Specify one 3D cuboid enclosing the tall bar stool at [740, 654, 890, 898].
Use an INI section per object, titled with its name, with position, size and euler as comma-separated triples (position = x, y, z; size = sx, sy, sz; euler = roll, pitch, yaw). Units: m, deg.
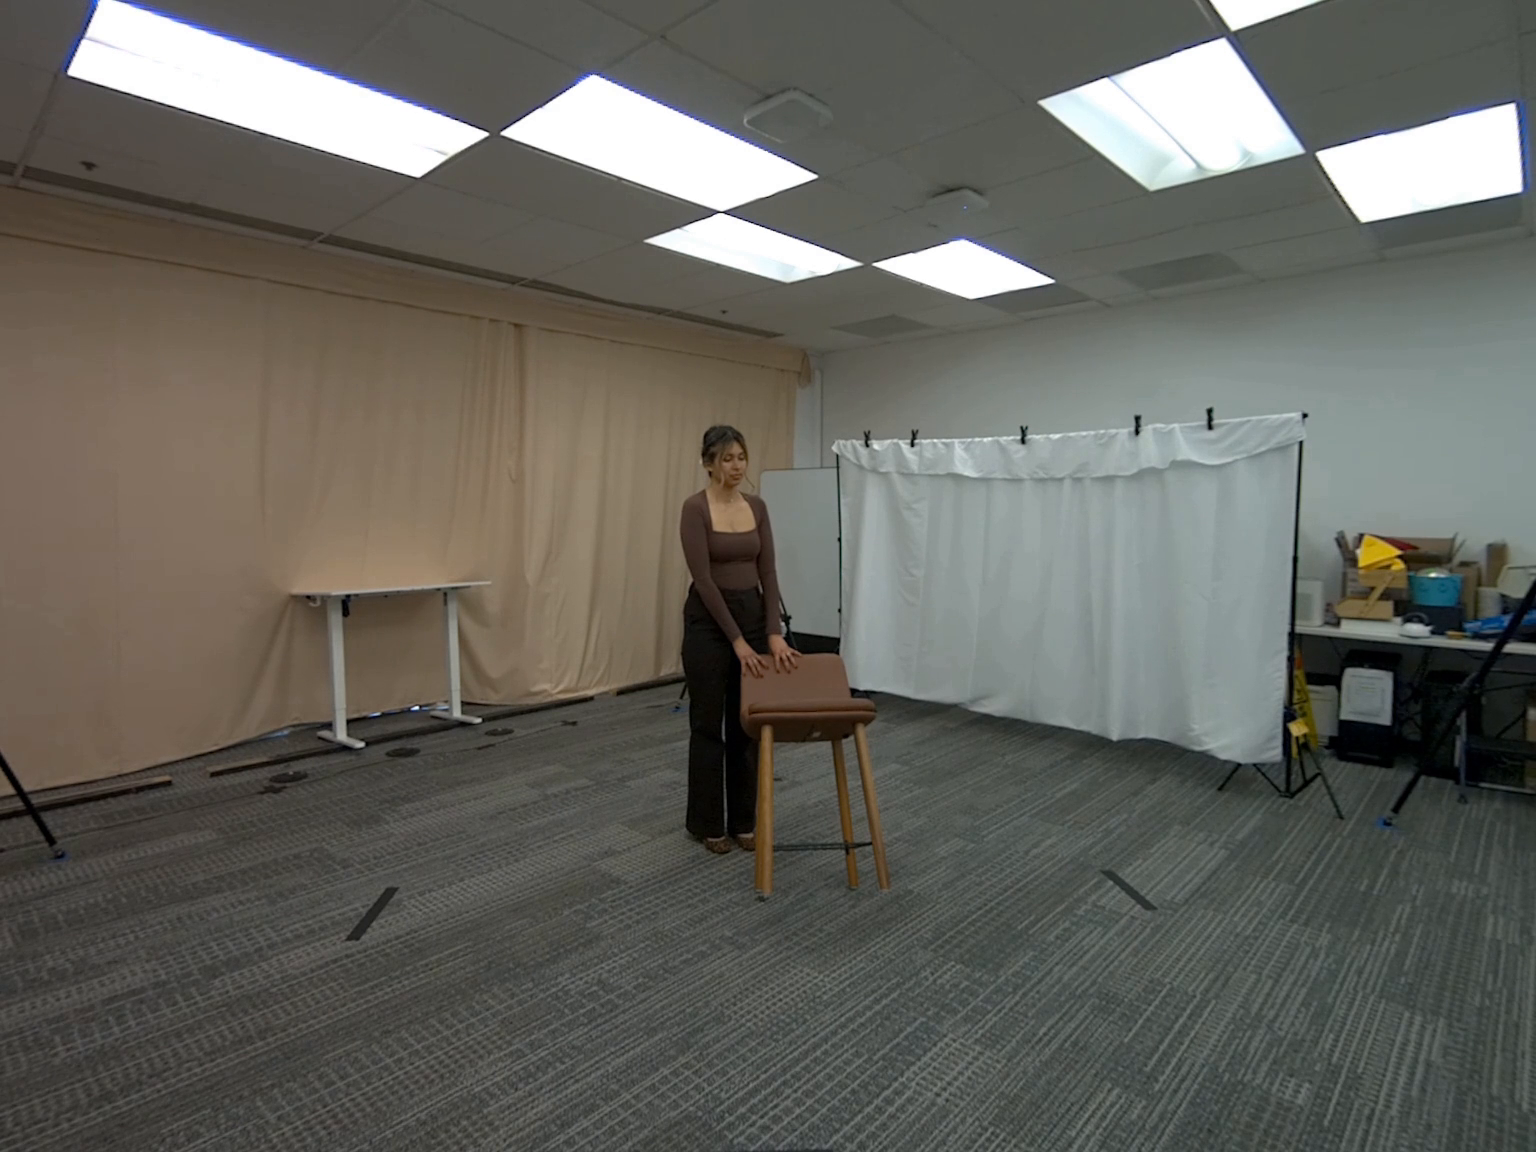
[tall bar stool]
position = 0.147, 0.657, 3.017
size = 0.455, 0.902, 0.463
euler = -1, -22, -4
